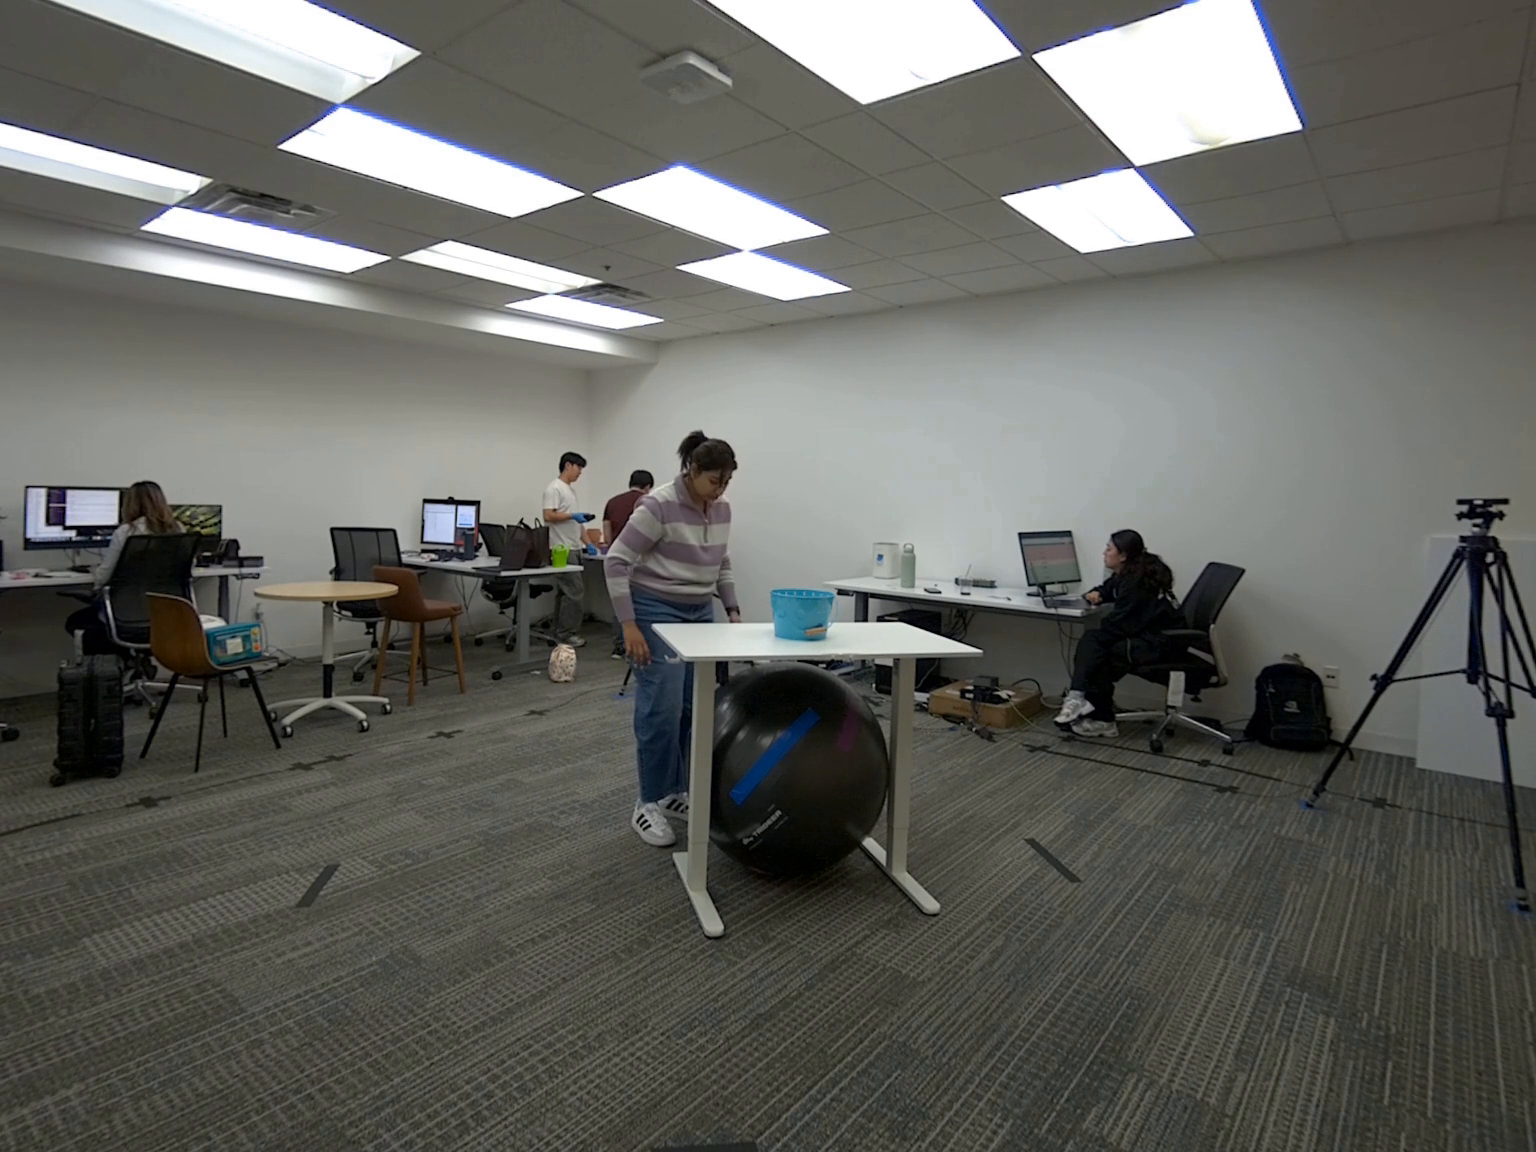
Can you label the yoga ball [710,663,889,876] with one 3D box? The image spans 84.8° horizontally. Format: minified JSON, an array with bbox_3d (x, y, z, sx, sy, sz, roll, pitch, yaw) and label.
[{"bbox_3d":[0.071,0.705,3.156,0.757,0.755,0.762,1,4,-2],"label":"yoga ball"}]
